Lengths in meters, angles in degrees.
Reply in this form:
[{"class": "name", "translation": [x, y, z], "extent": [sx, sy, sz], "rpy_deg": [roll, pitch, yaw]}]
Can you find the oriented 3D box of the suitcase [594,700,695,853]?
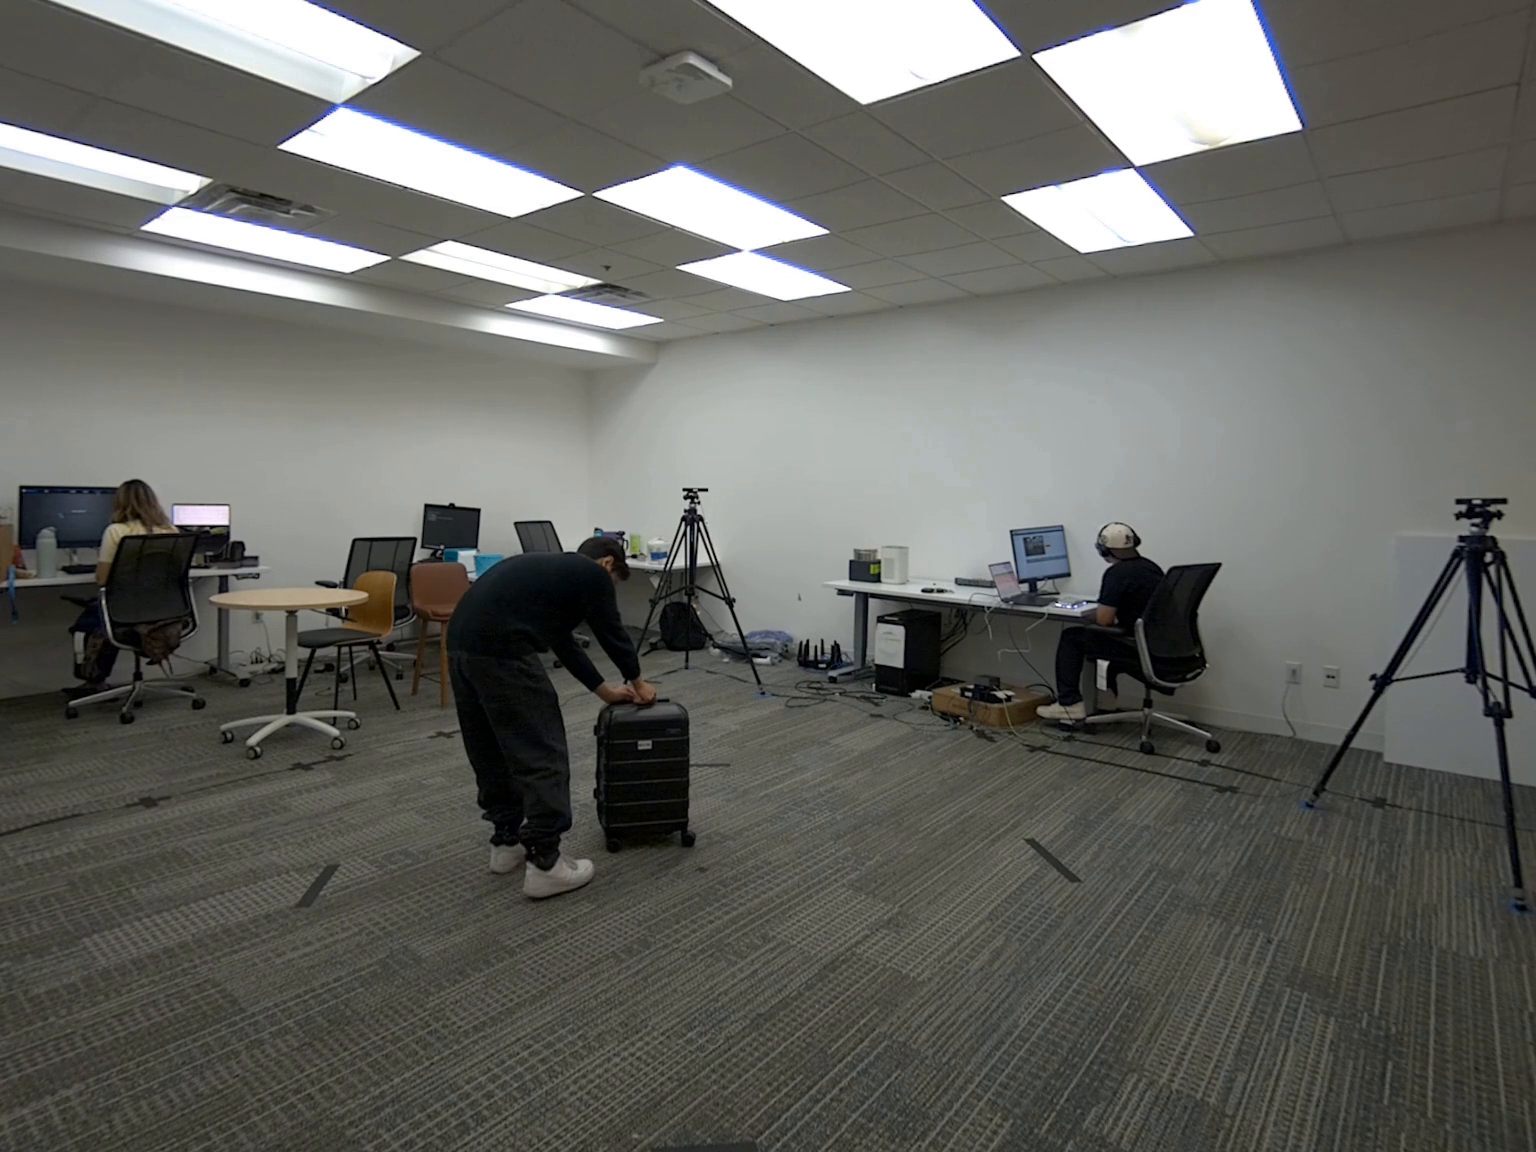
[{"class": "suitcase", "translation": [-0.502, 0.763, 3.383], "extent": [0.370, 0.547, 0.253], "rpy_deg": [-1, 4, -15]}]
